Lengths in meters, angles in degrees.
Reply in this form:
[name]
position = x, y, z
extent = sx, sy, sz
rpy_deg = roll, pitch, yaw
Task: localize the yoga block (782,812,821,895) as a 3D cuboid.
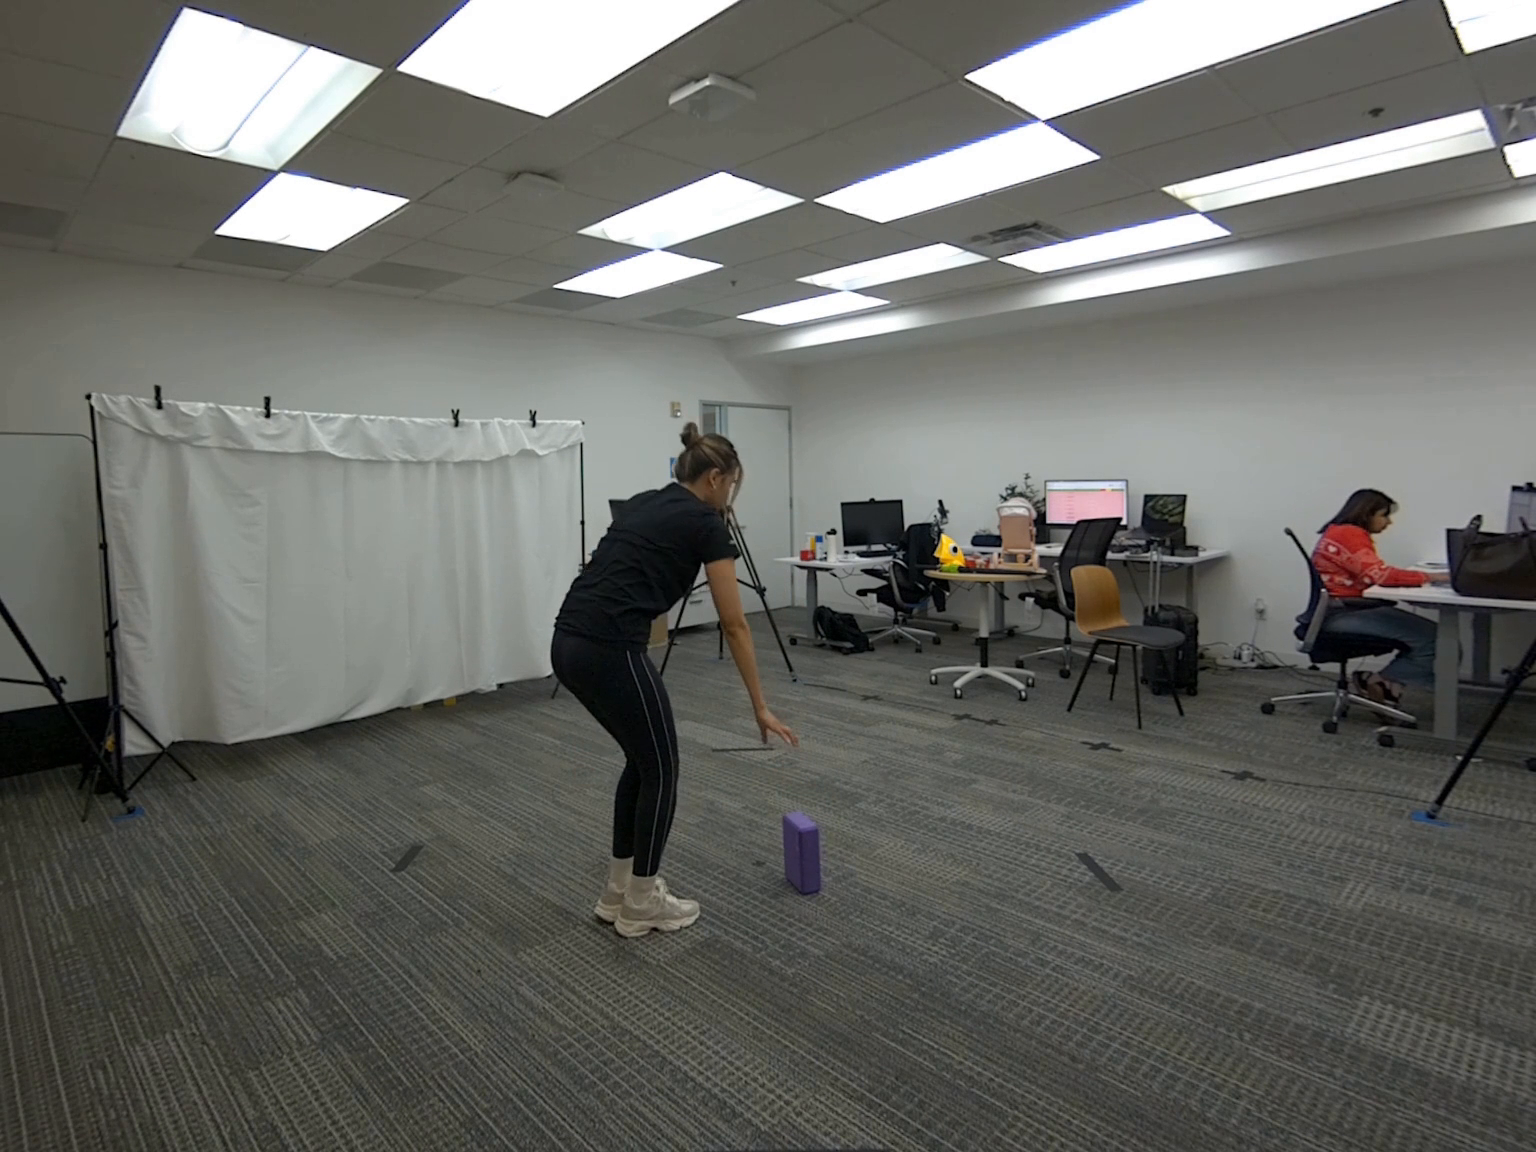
[yoga block]
position = 0.122, 0.947, 2.932
extent = 0.075, 0.228, 0.152
rpy_deg = -3, 4, -24
